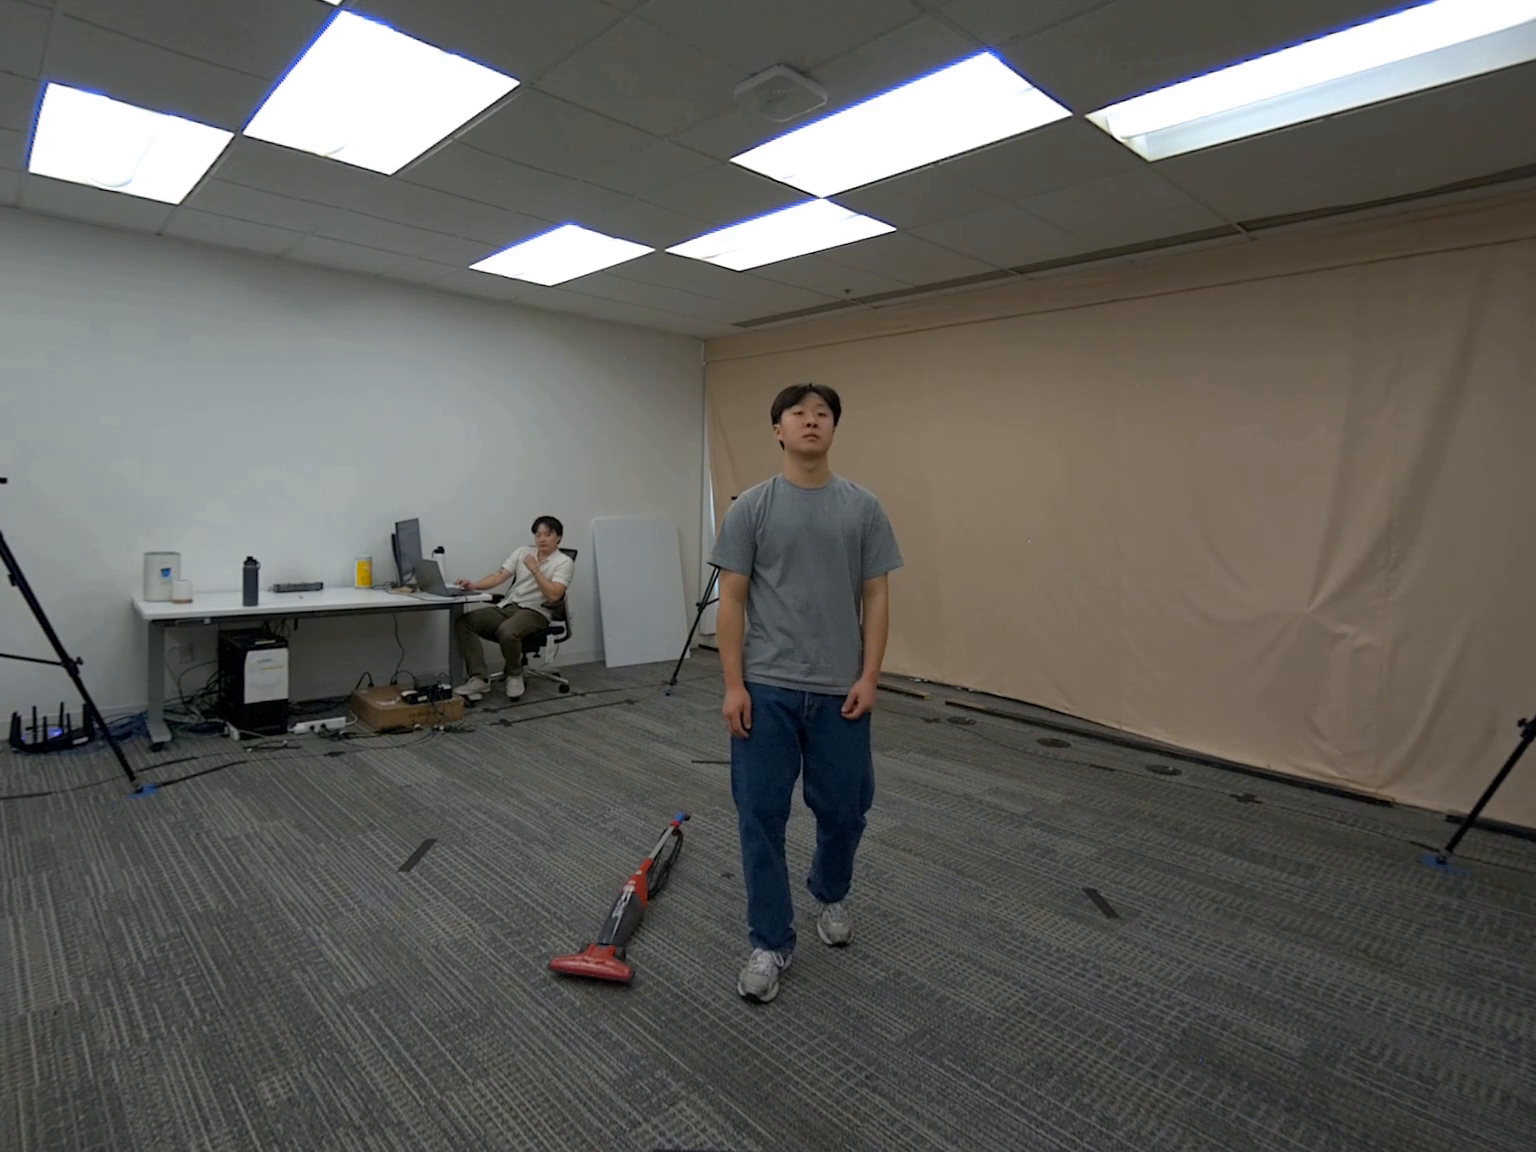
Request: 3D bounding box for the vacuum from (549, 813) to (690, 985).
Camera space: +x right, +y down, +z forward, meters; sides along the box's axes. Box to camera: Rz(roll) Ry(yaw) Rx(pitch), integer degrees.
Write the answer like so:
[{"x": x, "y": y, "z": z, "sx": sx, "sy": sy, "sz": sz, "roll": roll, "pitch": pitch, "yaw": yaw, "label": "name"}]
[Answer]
[{"x": -0.413, "y": 1.049, "z": 2.984, "sx": 0.254, "sy": 0.143, "sz": 1.045, "roll": -4, "pitch": 6, "yaw": 9, "label": "vacuum"}]
